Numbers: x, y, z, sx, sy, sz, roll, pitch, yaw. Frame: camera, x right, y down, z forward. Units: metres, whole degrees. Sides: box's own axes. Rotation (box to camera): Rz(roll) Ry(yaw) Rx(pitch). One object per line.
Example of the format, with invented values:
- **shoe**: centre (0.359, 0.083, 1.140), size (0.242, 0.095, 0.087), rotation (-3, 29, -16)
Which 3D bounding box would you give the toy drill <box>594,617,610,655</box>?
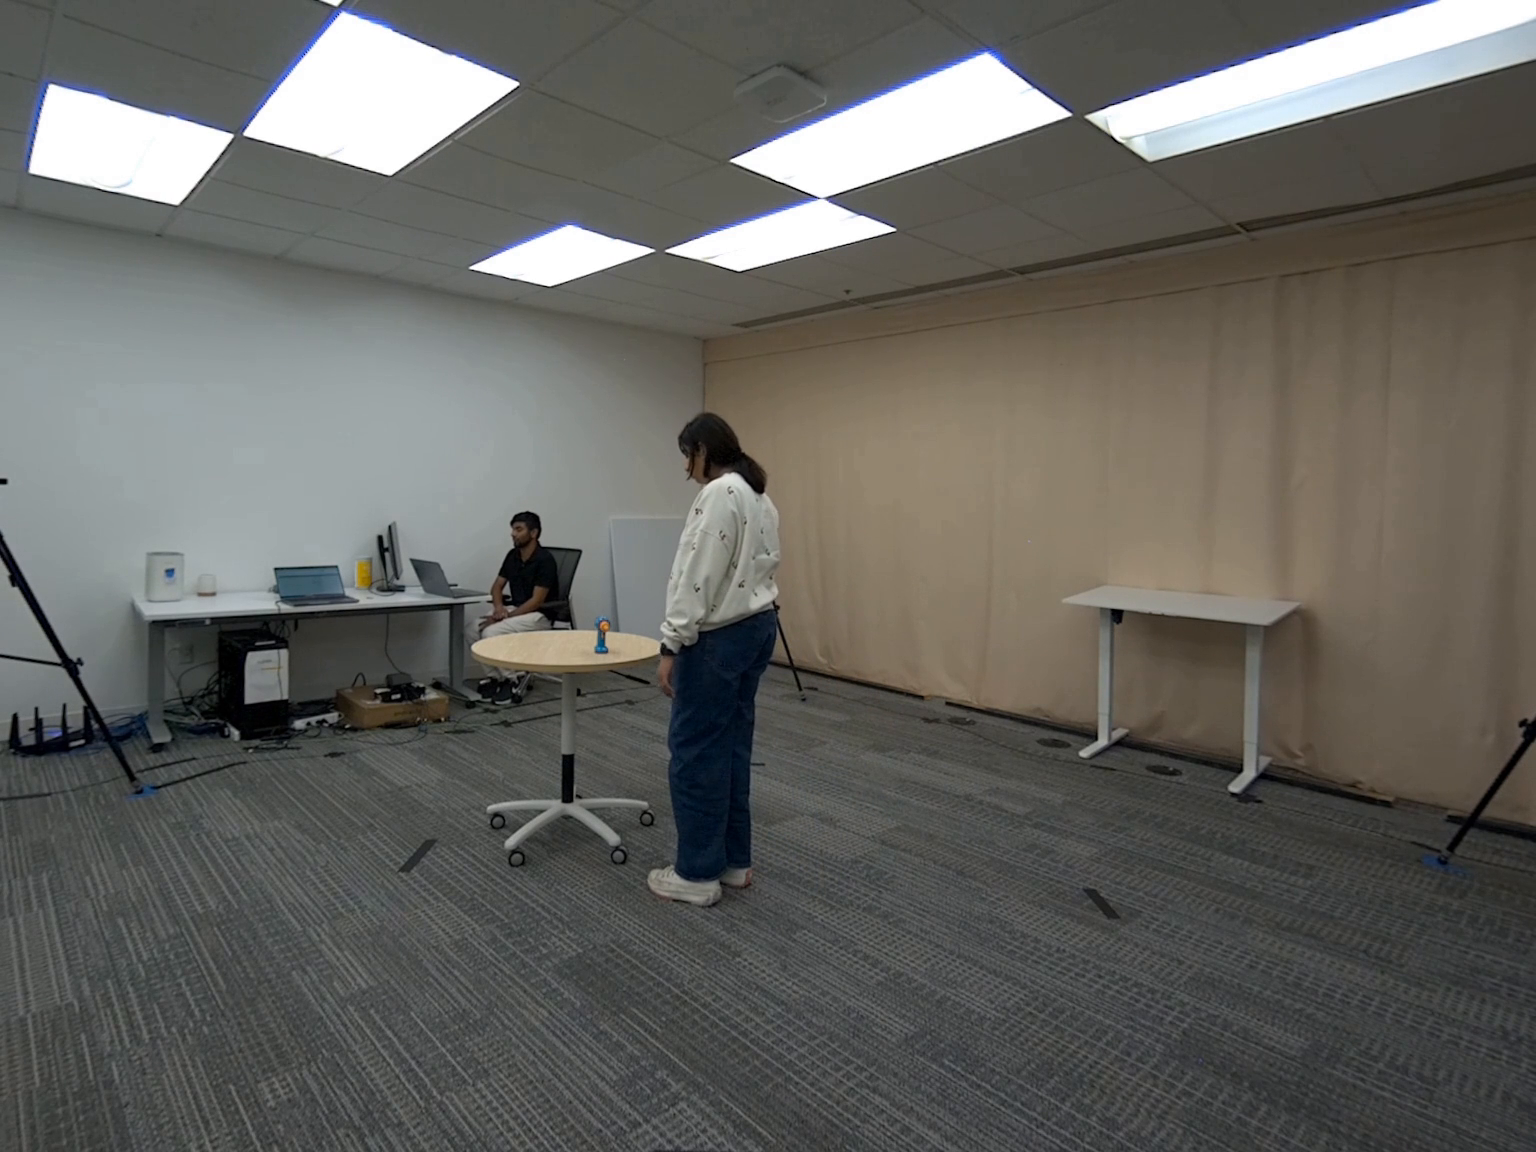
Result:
- **toy drill**: centre (-0.640, 0.228, 3.243), size (0.060, 0.146, 0.173), rotation (1, 4, -21)
